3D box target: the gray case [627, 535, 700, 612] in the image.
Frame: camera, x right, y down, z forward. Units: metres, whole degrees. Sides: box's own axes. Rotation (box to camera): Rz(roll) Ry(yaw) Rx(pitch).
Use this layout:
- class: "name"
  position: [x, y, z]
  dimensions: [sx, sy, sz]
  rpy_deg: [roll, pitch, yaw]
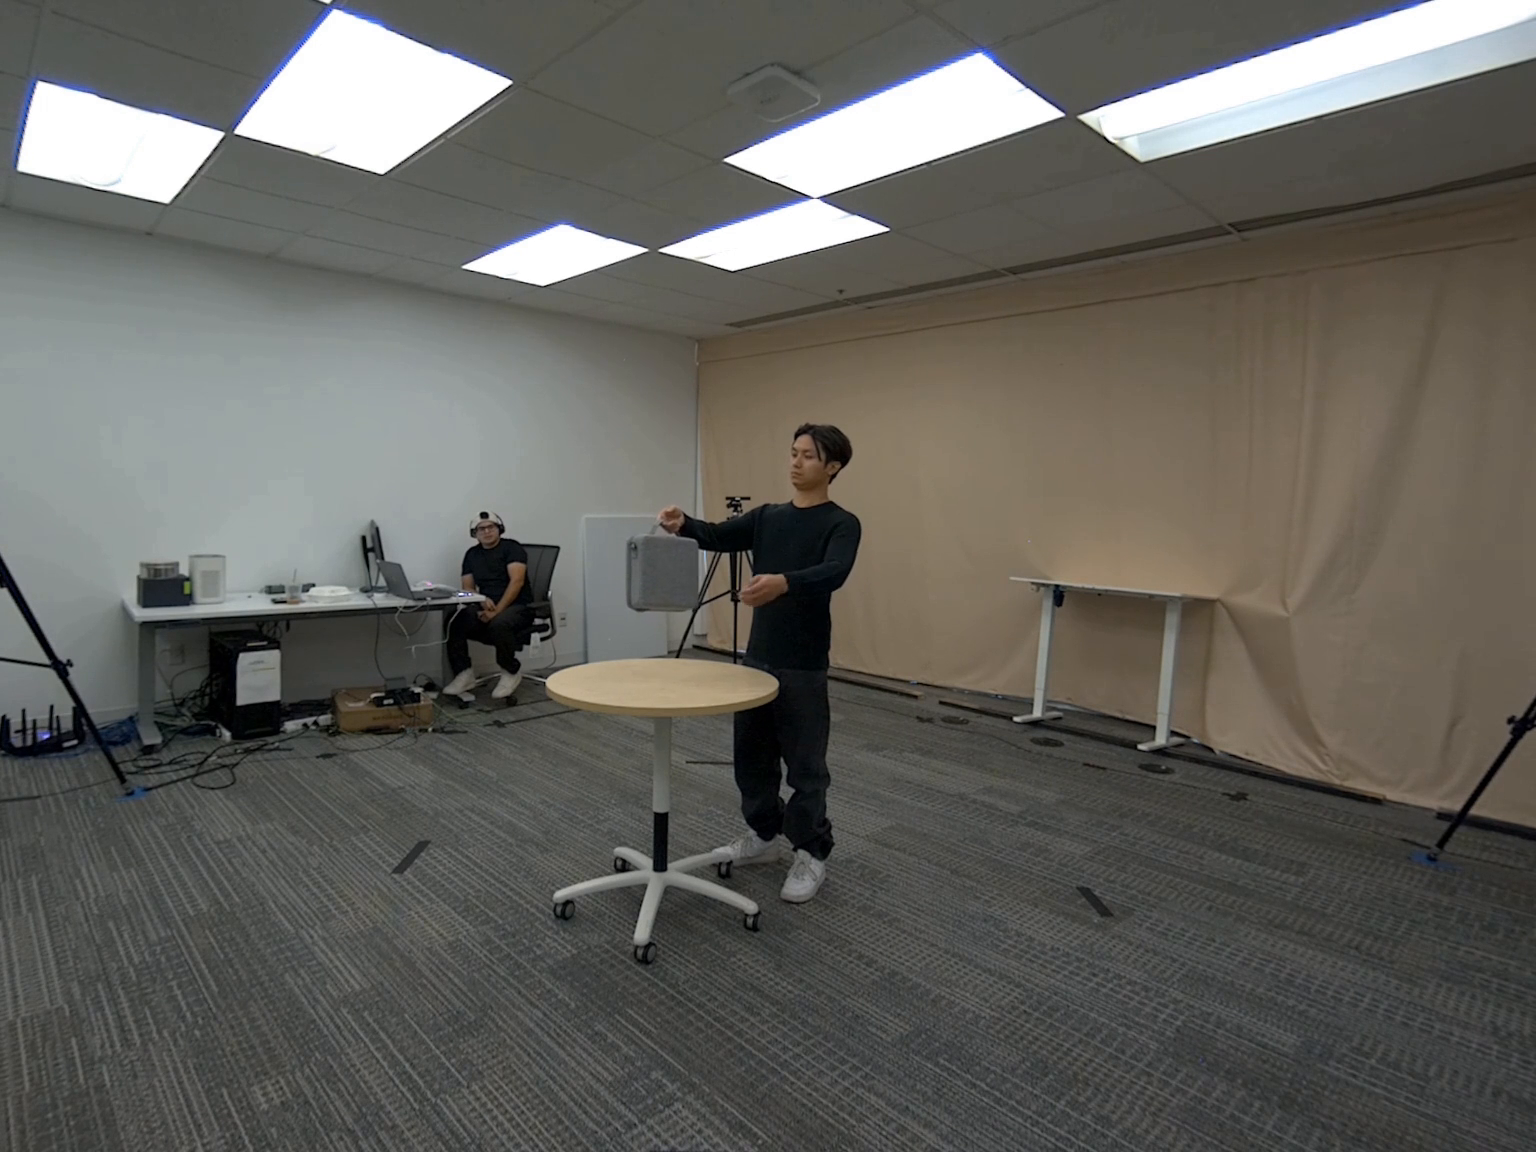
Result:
- class: "gray case"
  position: [-0.363, -0.012, 2.878]
  dimensions: [0.250, 0.261, 0.106]
  rpy_deg: [3, -6, -41]
